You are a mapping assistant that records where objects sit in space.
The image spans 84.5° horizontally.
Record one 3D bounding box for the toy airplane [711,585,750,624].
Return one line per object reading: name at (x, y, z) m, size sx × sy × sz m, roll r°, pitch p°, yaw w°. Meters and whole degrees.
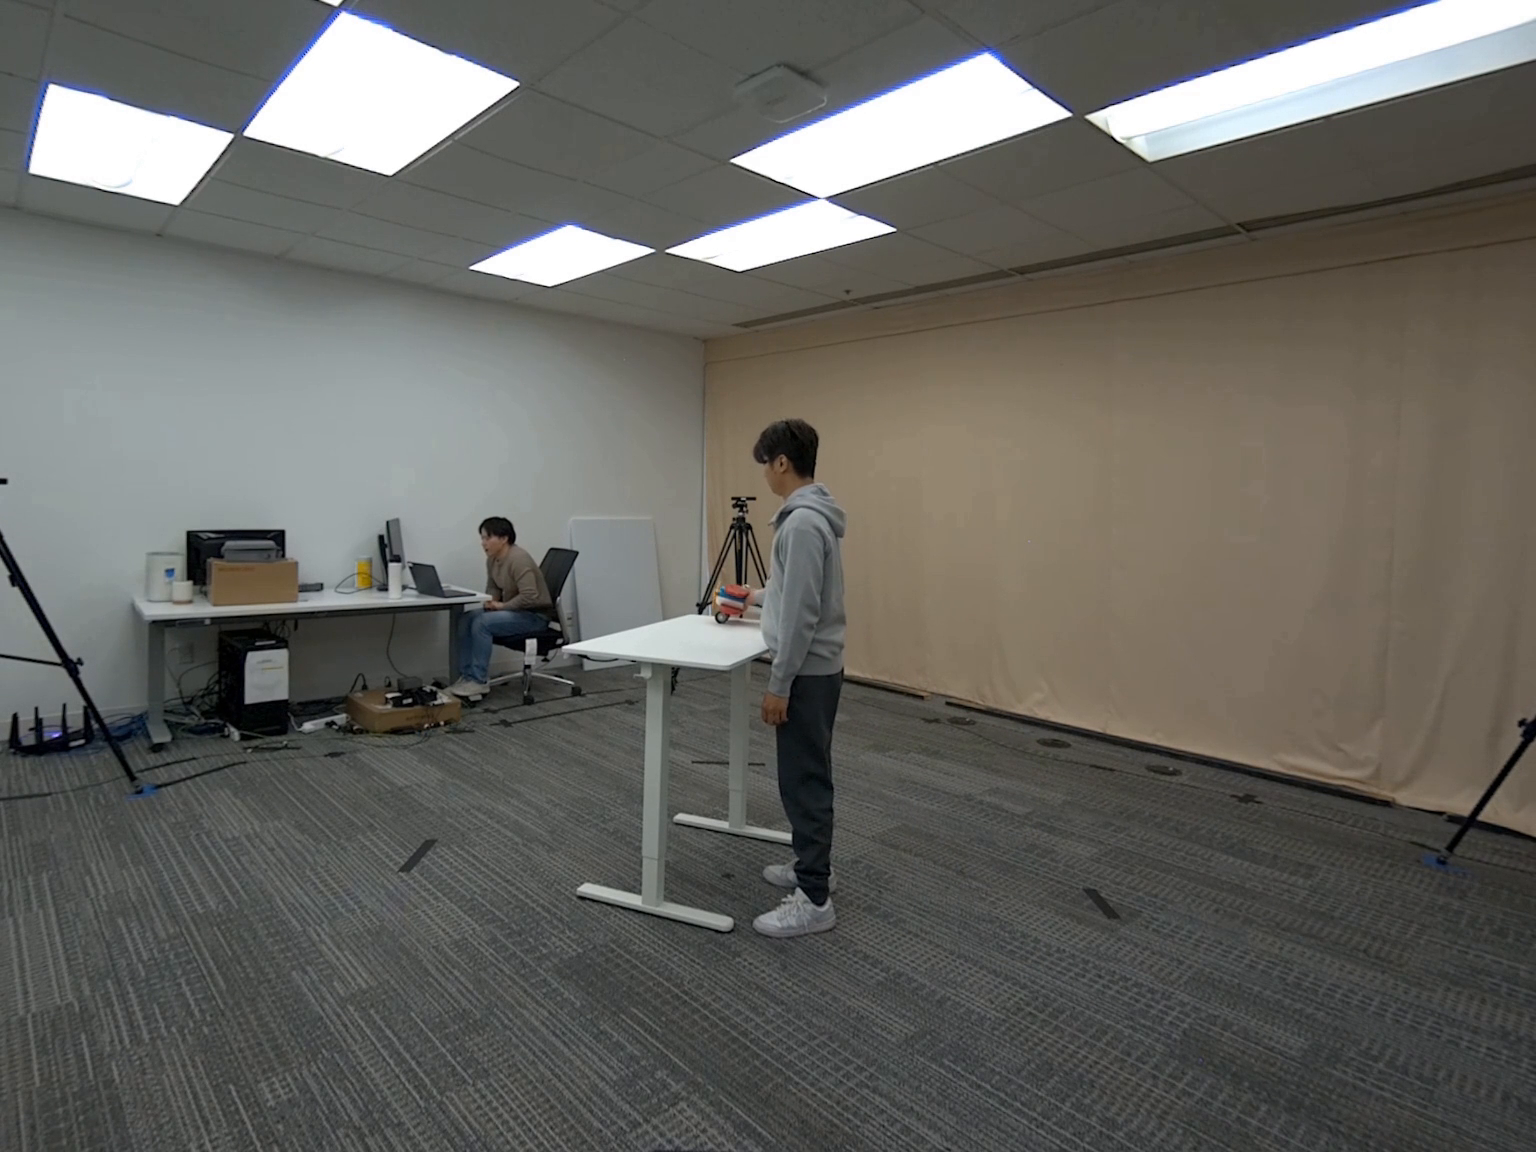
toy airplane at (-0.113, 0.117, 3.495) m, size 0.255 × 0.156 × 0.256 m, roll -1°, pitch 6°, yaw -24°
